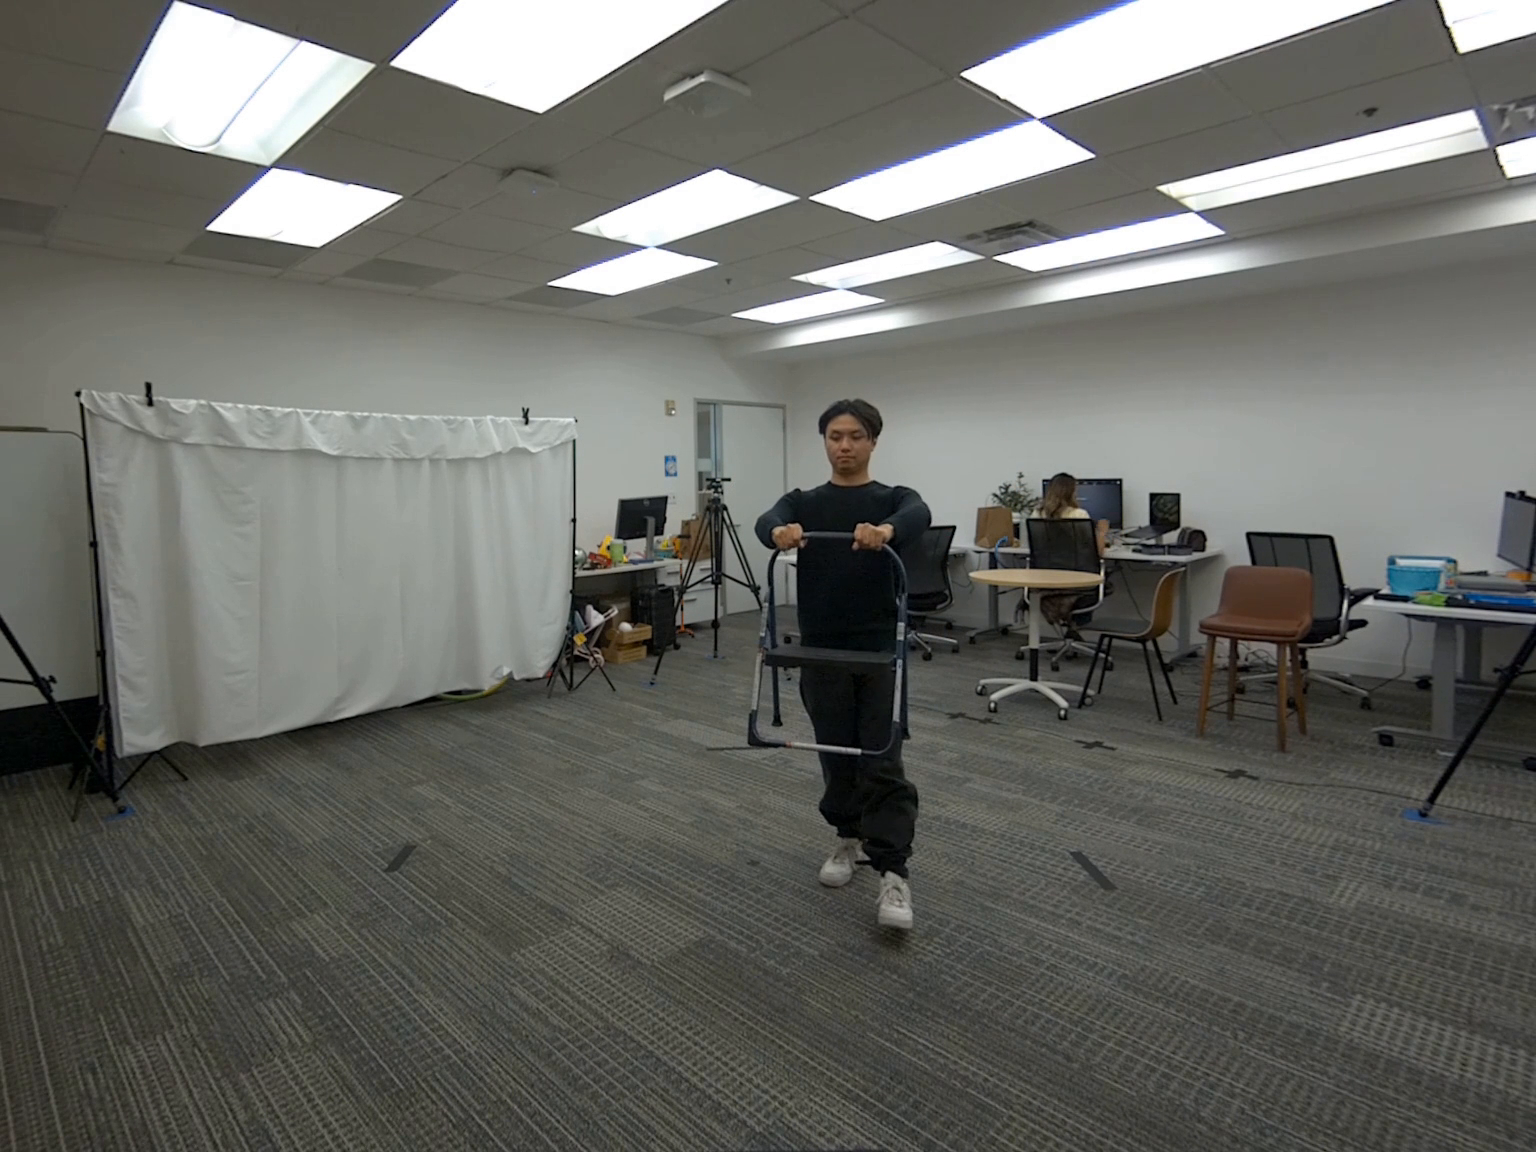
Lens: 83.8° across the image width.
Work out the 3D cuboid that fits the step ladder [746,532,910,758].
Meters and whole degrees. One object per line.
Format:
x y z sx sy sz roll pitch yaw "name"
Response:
0.206 0.187 2.493 0.437 0.606 0.344 3 0 15 "step ladder"
